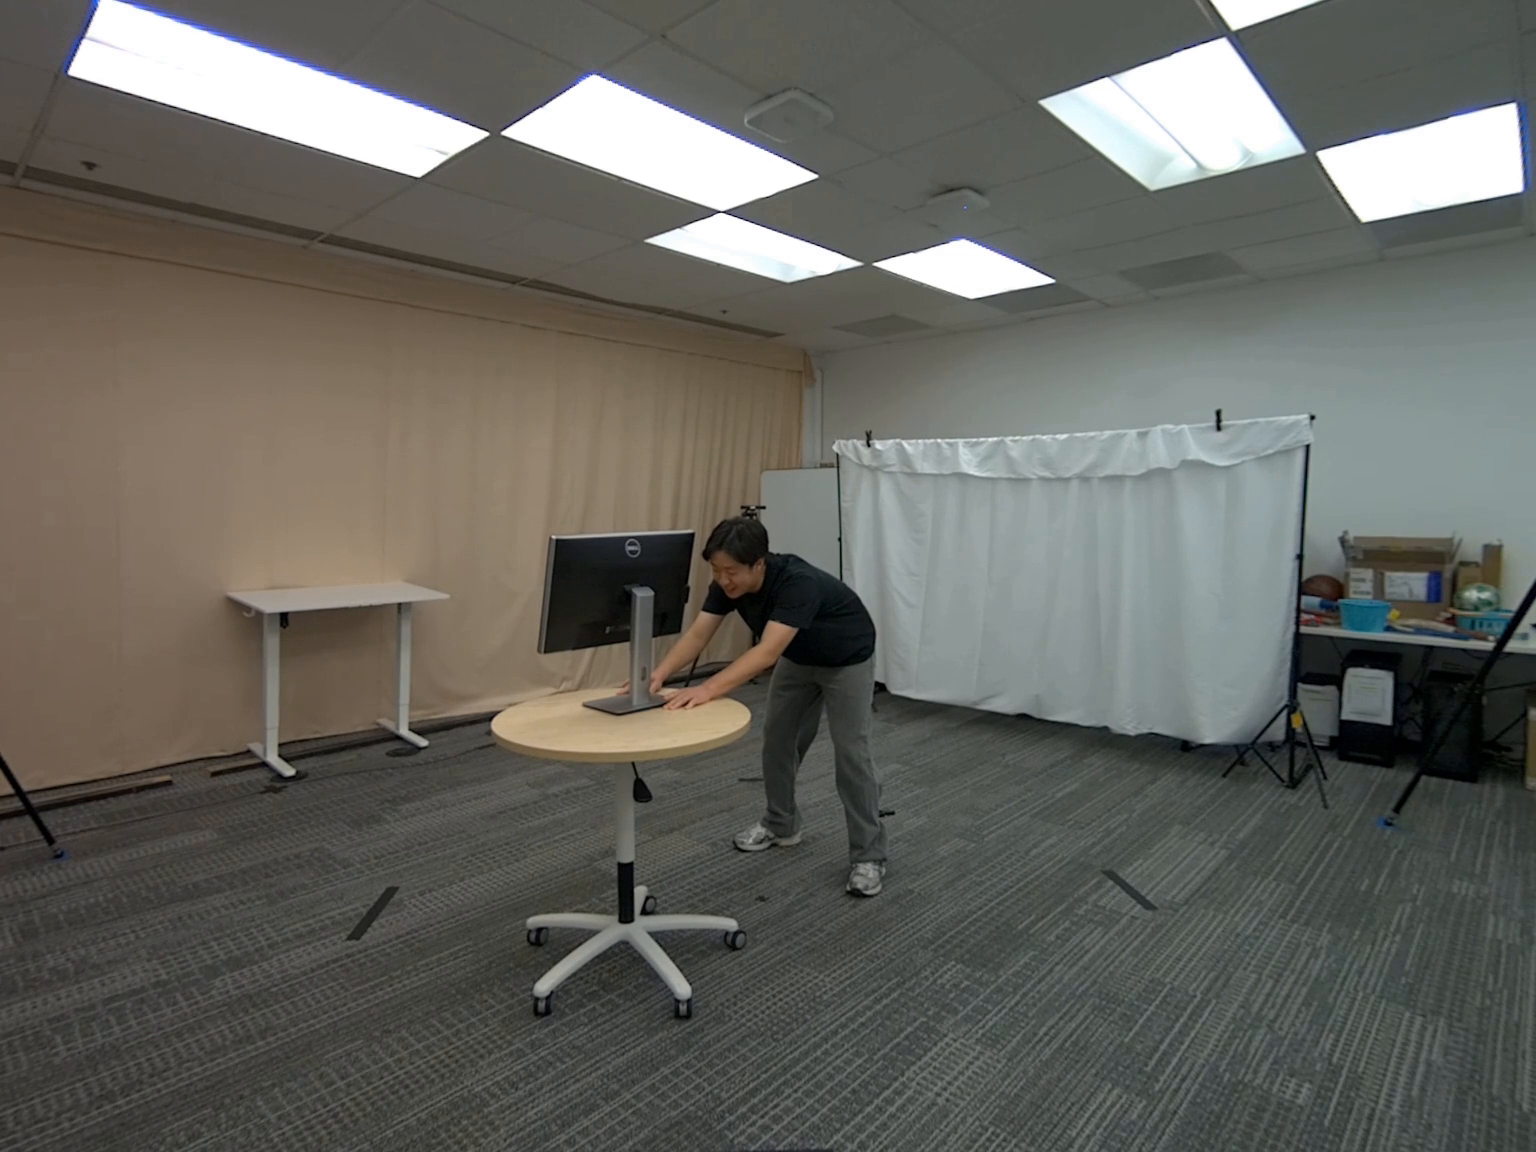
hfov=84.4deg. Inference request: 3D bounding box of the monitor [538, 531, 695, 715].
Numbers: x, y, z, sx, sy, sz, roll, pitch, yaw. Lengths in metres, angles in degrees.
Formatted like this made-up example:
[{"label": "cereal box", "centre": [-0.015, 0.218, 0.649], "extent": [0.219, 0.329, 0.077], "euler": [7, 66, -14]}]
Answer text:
[{"label": "monitor", "centre": [-0.421, 0.141, 2.620], "extent": [0.217, 0.551, 0.548], "euler": [11, 10, 42]}]
